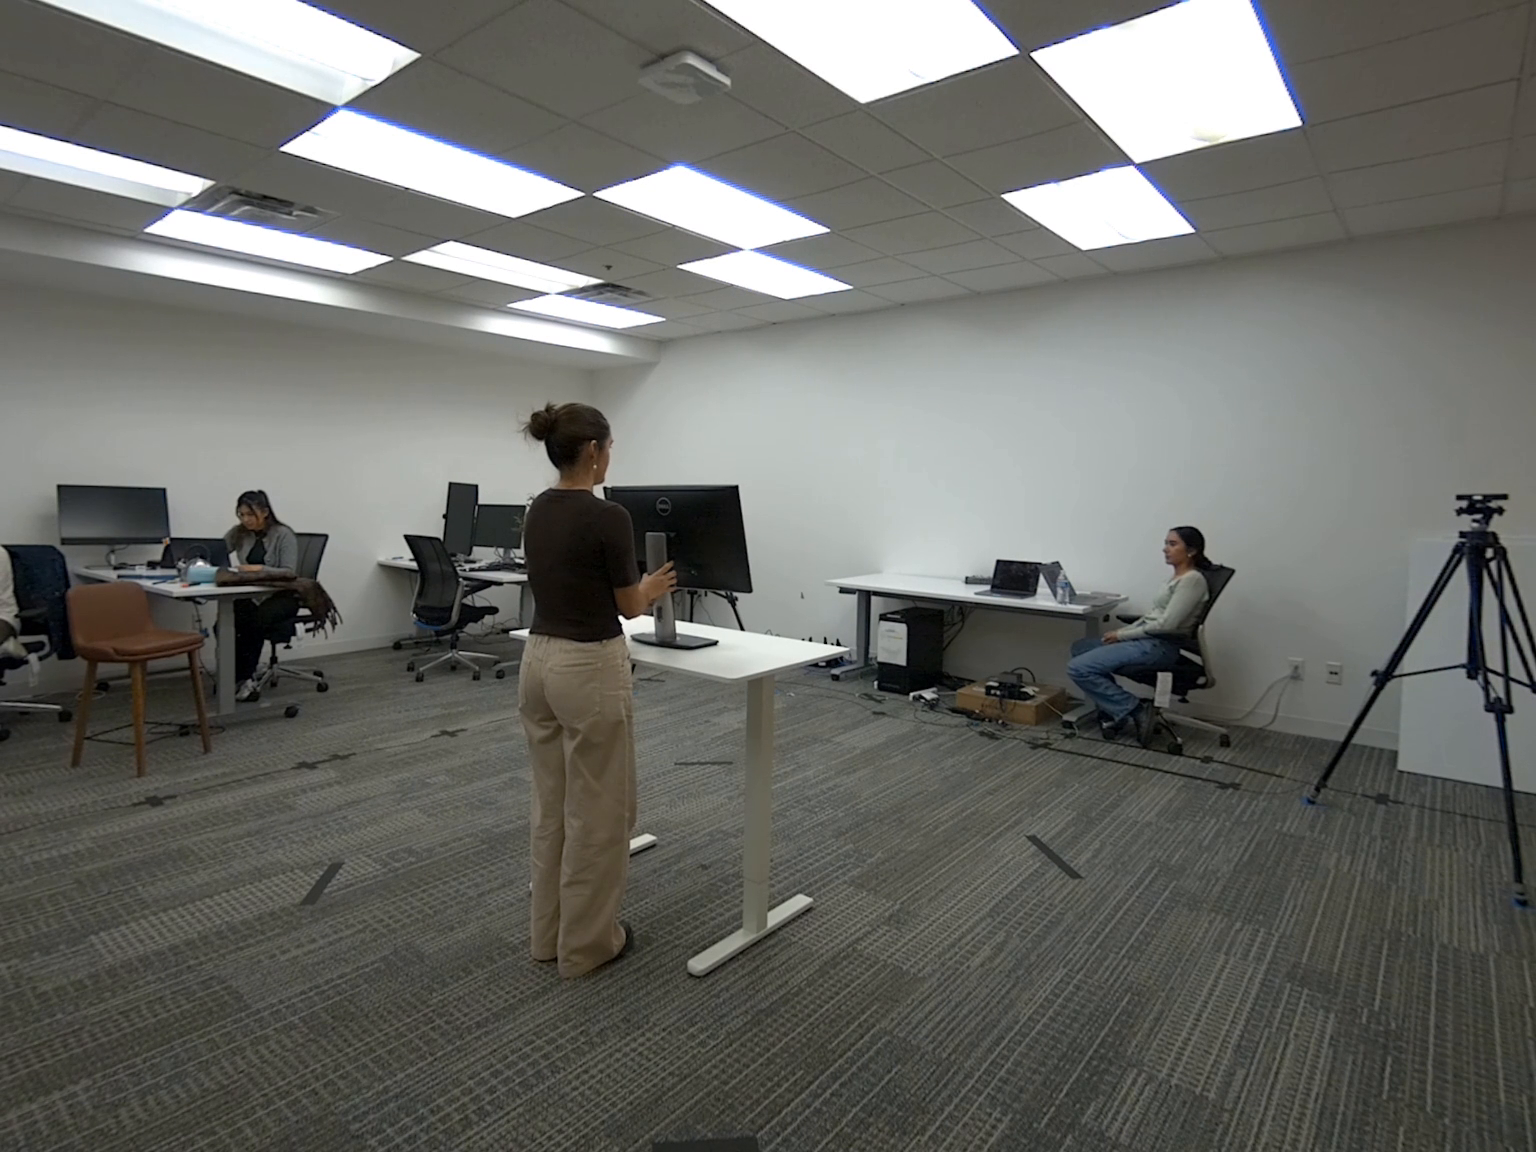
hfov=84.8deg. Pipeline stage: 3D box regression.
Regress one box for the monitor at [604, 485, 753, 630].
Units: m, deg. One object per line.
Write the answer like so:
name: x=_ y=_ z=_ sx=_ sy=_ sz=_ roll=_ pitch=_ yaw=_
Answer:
monitor: x=-0.325 y=-0.038 z=2.769 sx=0.555 sy=0.521 sz=0.182 roll=3 pitch=4 yaw=30
